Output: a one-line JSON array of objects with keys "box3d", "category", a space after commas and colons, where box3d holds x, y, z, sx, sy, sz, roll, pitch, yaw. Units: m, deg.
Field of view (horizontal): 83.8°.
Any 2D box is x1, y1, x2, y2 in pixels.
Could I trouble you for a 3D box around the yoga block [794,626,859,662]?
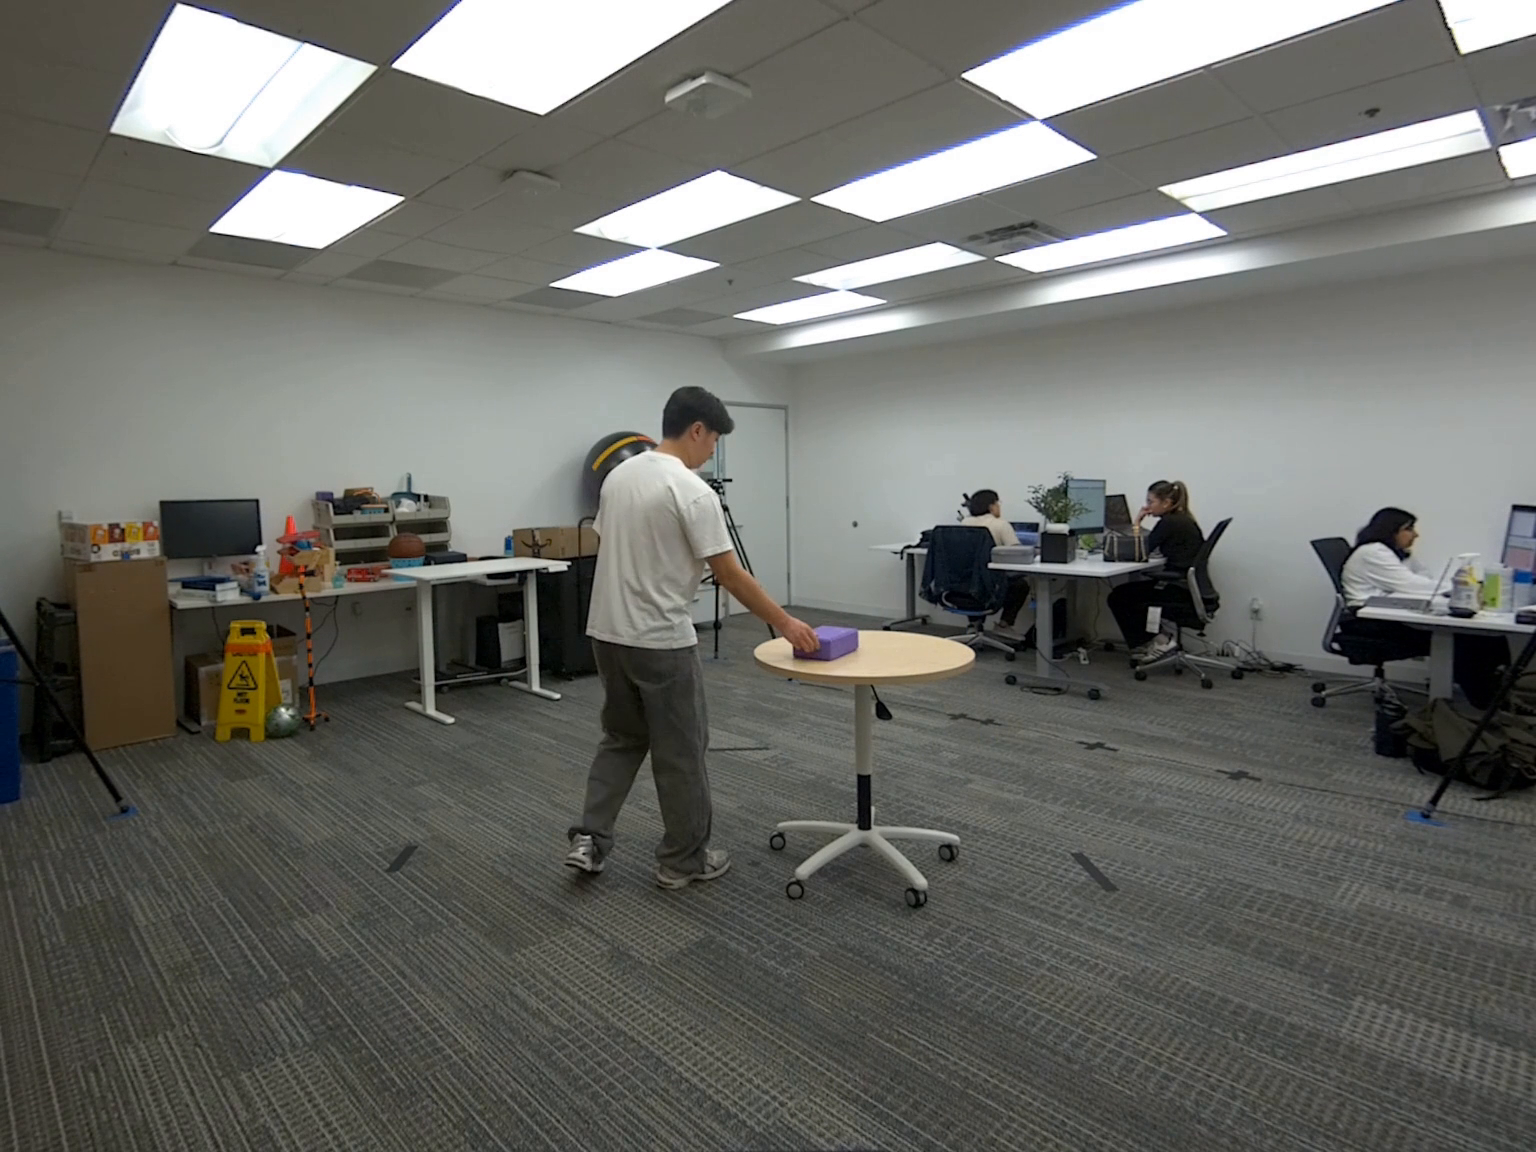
[{"box3d": [0.203, 0.226, 2.986, 0.153, 0.076, 0.224, 2, 8, 33], "category": "yoga block"}]
